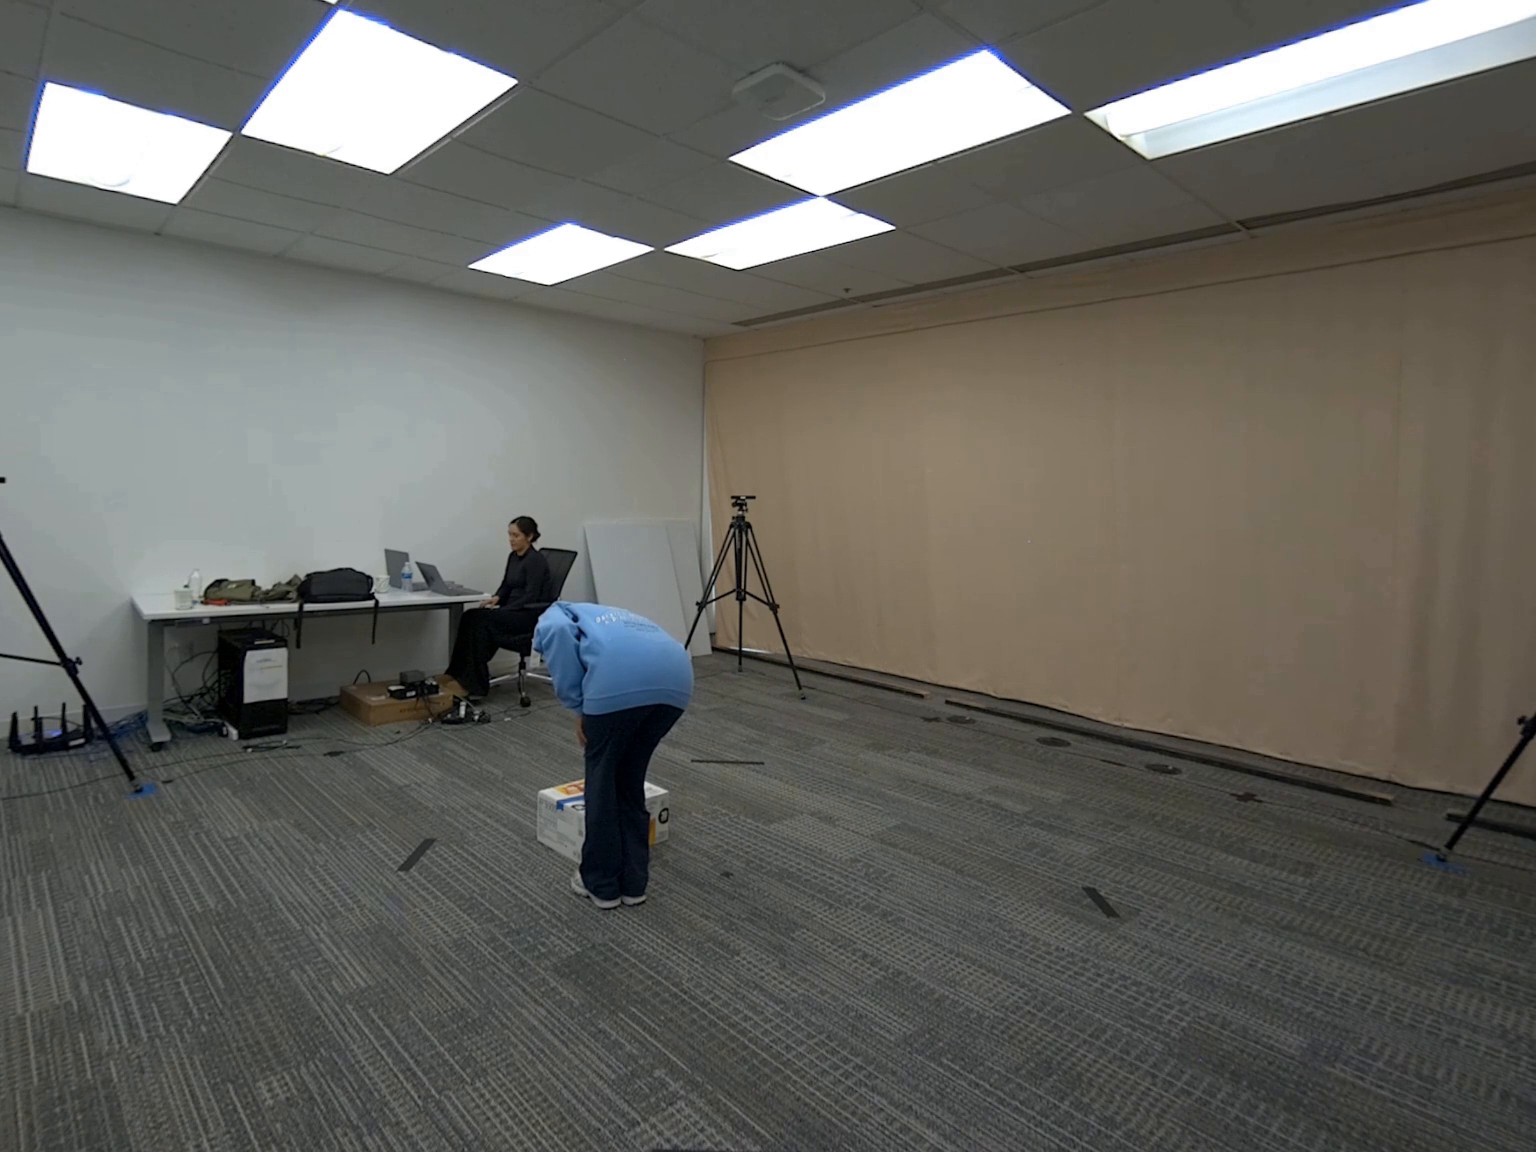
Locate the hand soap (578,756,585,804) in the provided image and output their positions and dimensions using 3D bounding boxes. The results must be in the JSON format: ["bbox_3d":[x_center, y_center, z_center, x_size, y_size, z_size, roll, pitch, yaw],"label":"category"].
[{"bbox_3d":[-0.696,0.793,3.317,0.082,0.169,0.044,6,-8,-45],"label":"hand soap"}]
